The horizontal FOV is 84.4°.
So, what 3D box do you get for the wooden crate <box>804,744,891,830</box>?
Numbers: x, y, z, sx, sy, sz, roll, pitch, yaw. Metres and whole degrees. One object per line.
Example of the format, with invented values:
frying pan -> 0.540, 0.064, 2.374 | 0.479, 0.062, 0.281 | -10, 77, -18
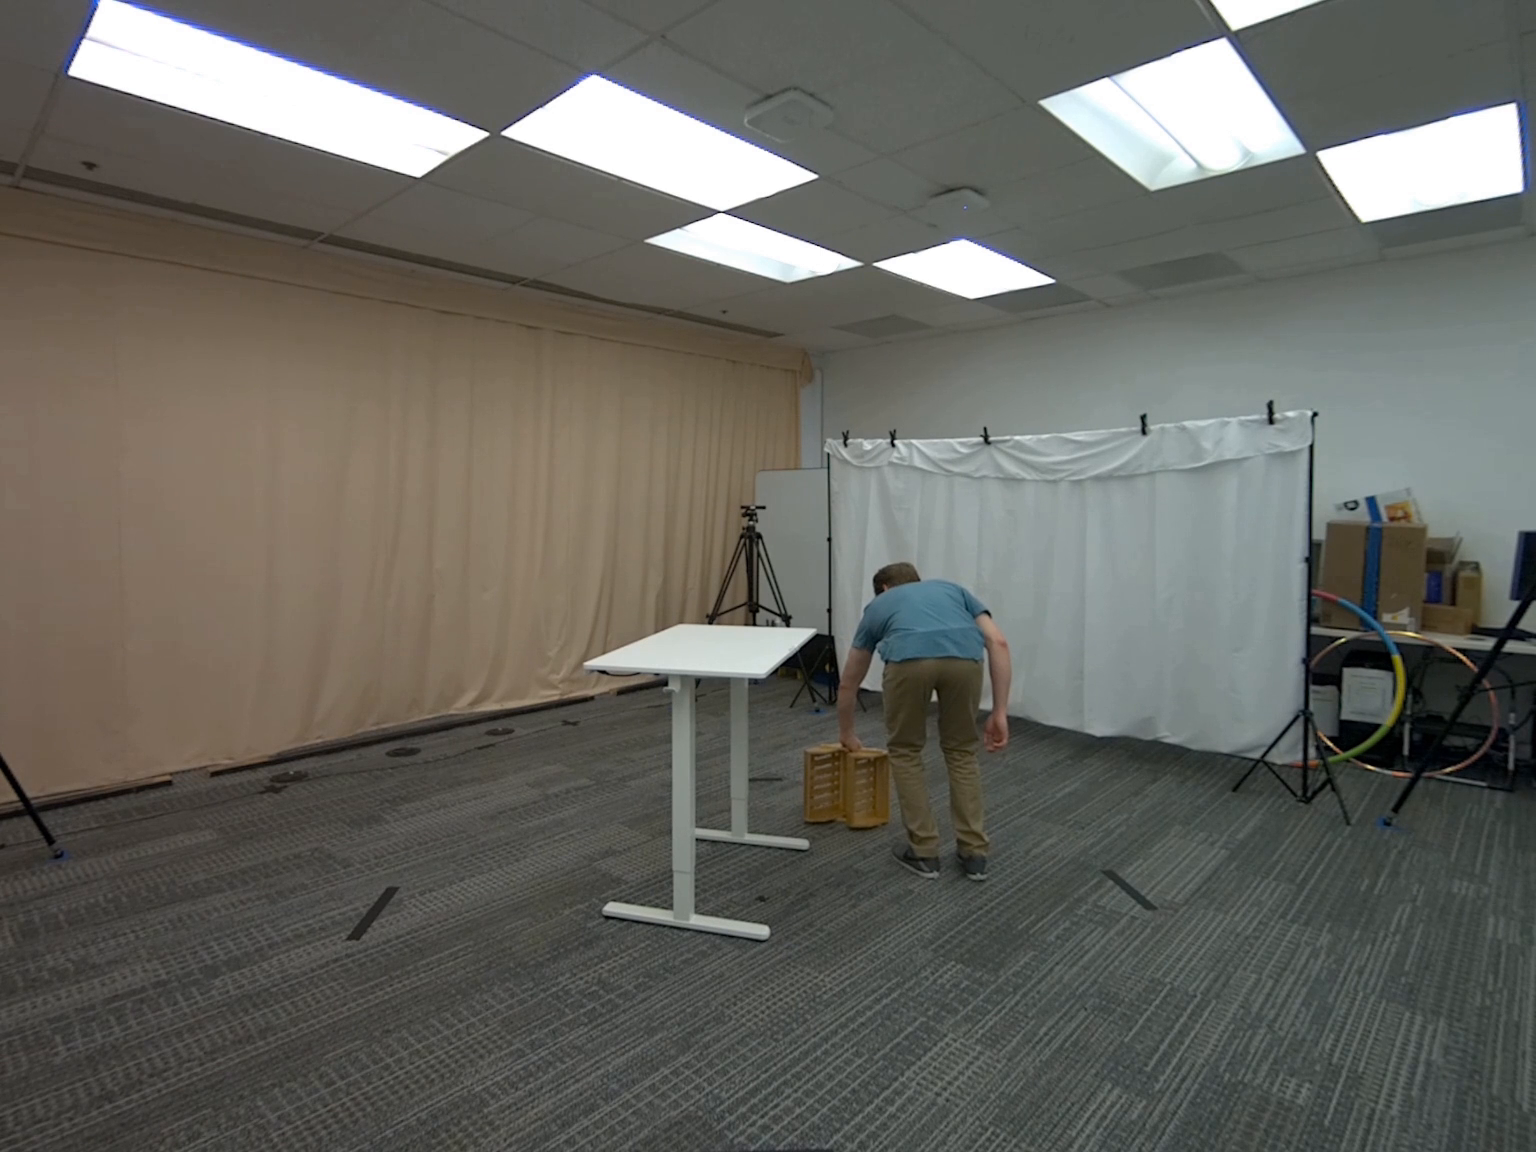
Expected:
wooden crate -> 0.348, 0.918, 3.696 | 0.282, 0.324, 0.292 | 0, 0, 45
